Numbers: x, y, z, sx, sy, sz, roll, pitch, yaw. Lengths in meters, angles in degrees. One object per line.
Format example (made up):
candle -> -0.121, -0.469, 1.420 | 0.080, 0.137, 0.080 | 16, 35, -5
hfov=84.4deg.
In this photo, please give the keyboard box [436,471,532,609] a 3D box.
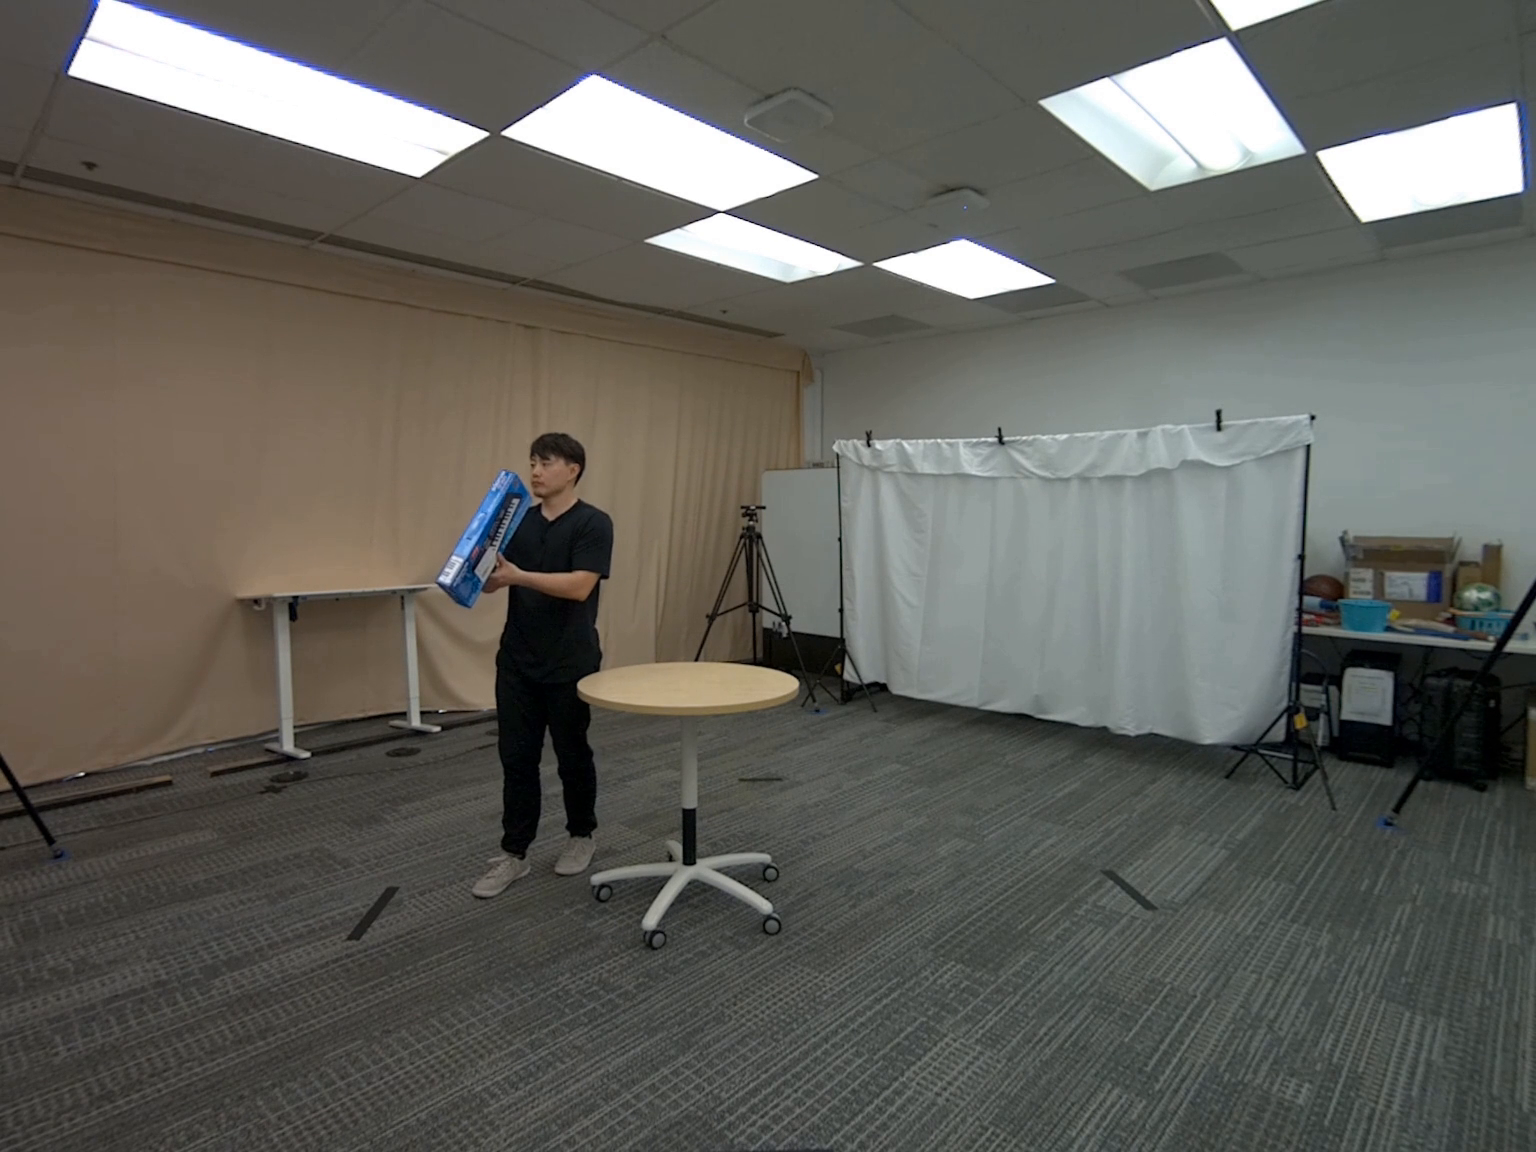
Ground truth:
keyboard box -> -0.918, -0.122, 2.764 | 0.060, 0.438, 0.173 | 19, -23, 10
